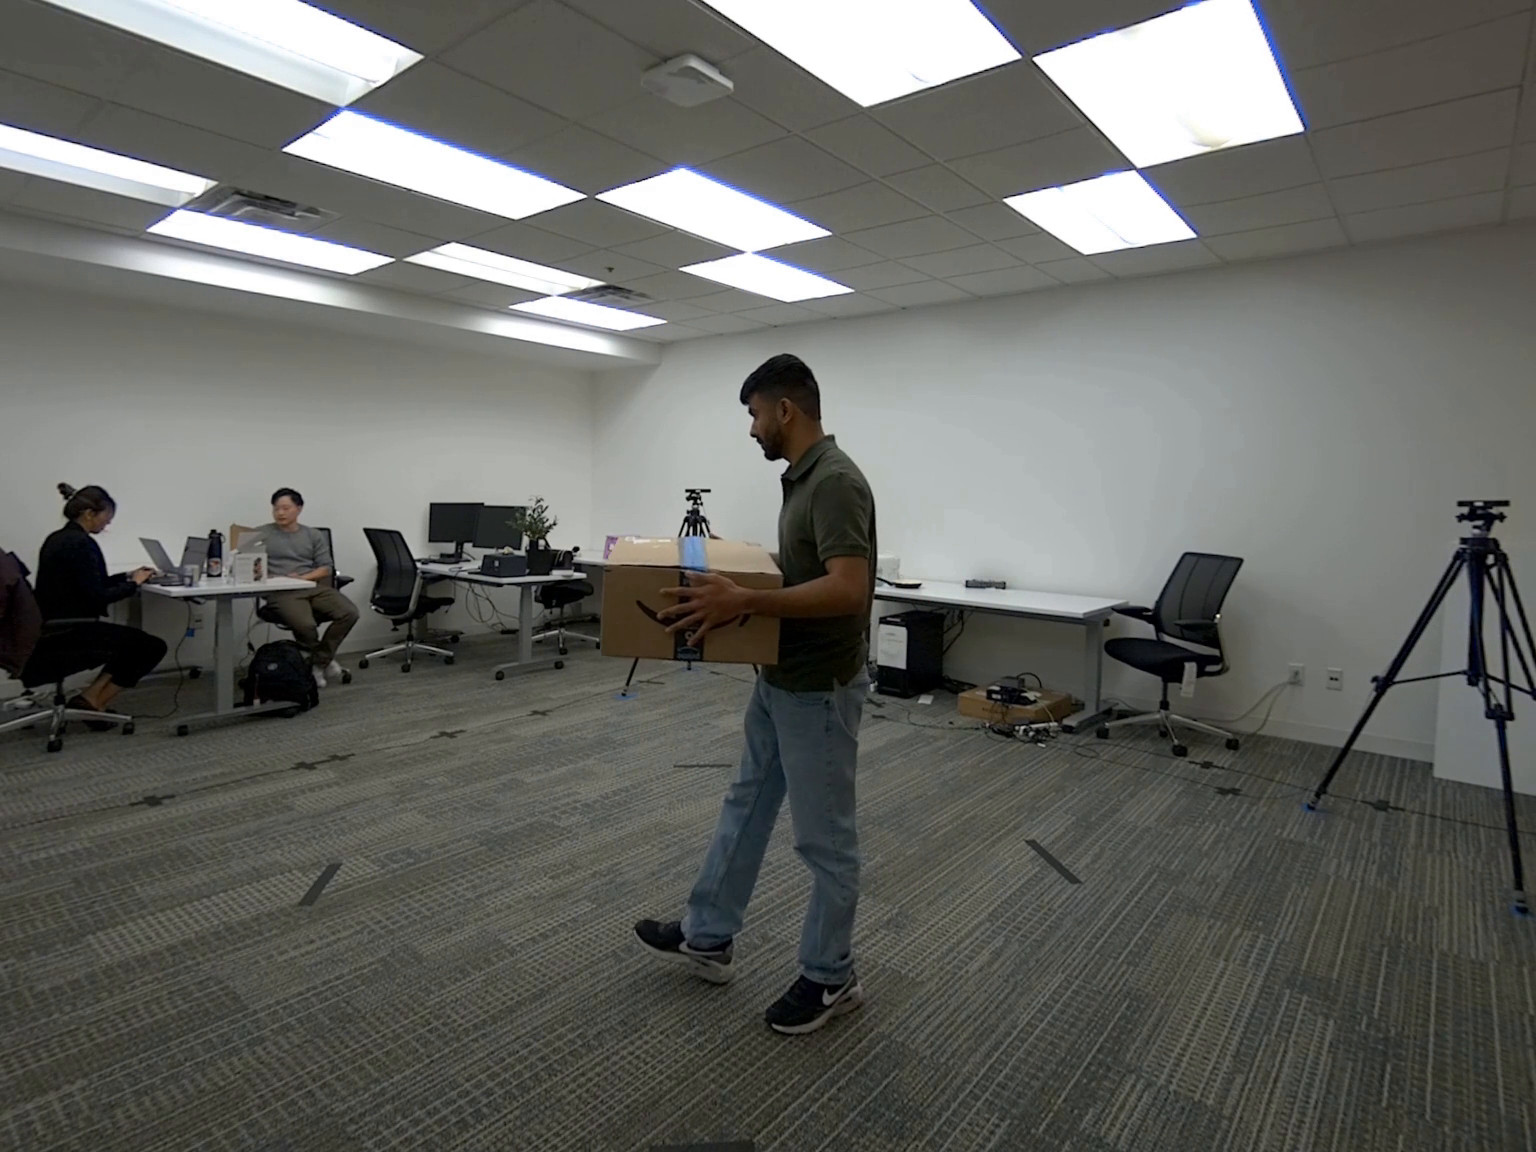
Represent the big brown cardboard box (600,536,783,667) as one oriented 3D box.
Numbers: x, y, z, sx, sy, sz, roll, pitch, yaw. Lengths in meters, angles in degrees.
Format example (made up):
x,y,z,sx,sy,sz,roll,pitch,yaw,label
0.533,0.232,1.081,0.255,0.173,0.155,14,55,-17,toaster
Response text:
x,y,z,sx,sy,sz,roll,pitch,yaw,label
-0.217,0.036,2.242,0.415,0.231,0.597,3,9,-6,big brown cardboard box
